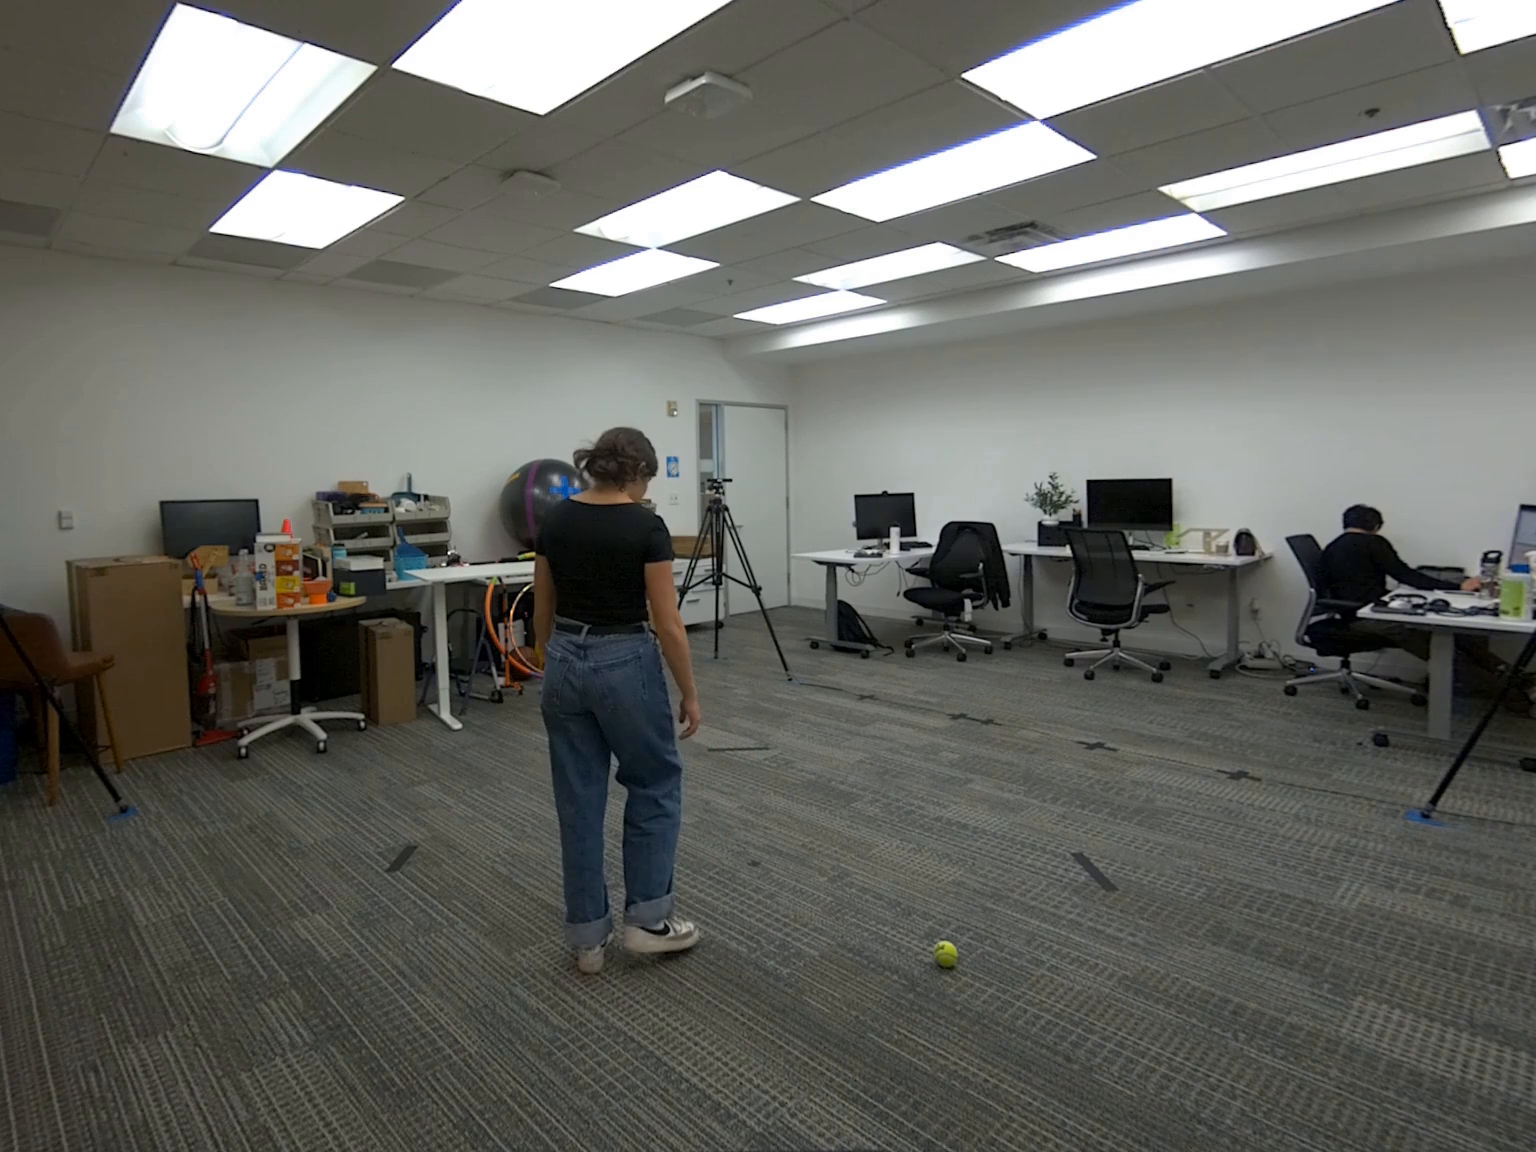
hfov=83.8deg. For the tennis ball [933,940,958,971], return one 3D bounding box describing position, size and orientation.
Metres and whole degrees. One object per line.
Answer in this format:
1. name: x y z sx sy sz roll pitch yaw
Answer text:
1. tennis ball: 0.511 1.072 2.432 0.066 0.066 0.067 -1 5 -2
